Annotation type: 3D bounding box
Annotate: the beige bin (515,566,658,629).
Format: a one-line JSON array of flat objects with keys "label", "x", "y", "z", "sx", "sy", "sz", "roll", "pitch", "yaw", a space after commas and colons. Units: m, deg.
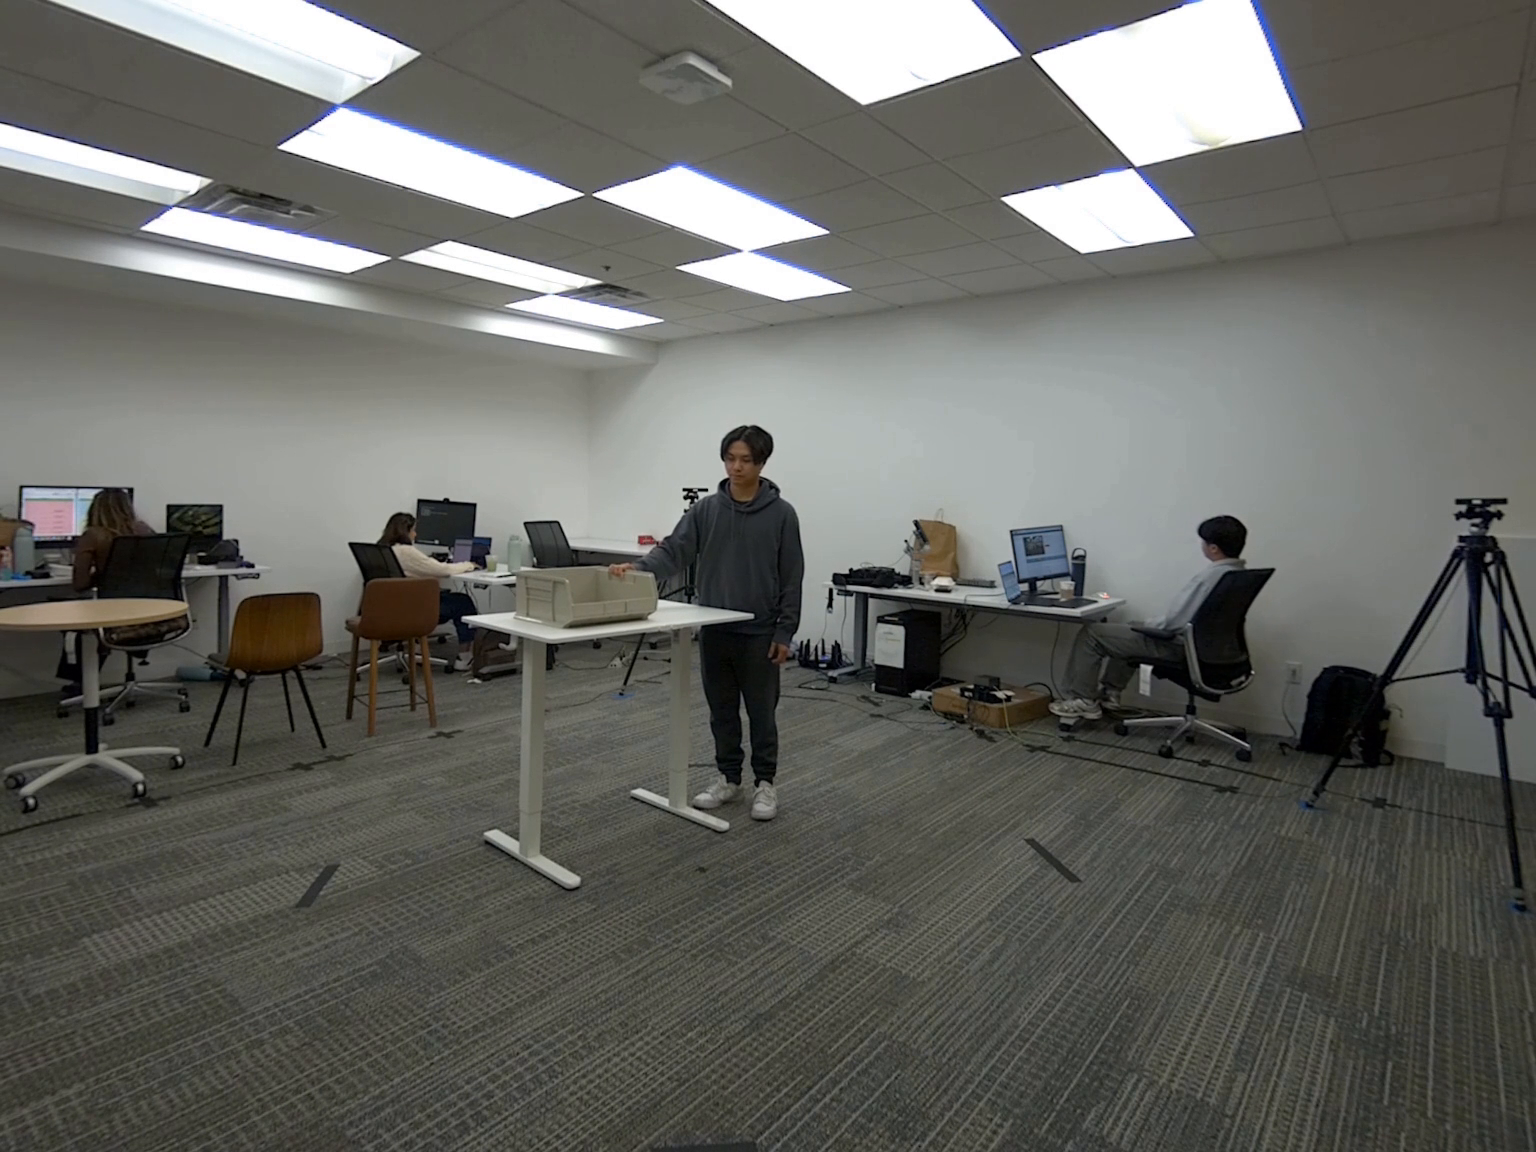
[{"label": "beige bin", "x": -0.706, "y": 0.075, "z": 3.249, "sx": 0.390, "sy": 0.188, "sz": 0.410, "roll": 5, "pitch": 6, "yaw": 42}]
